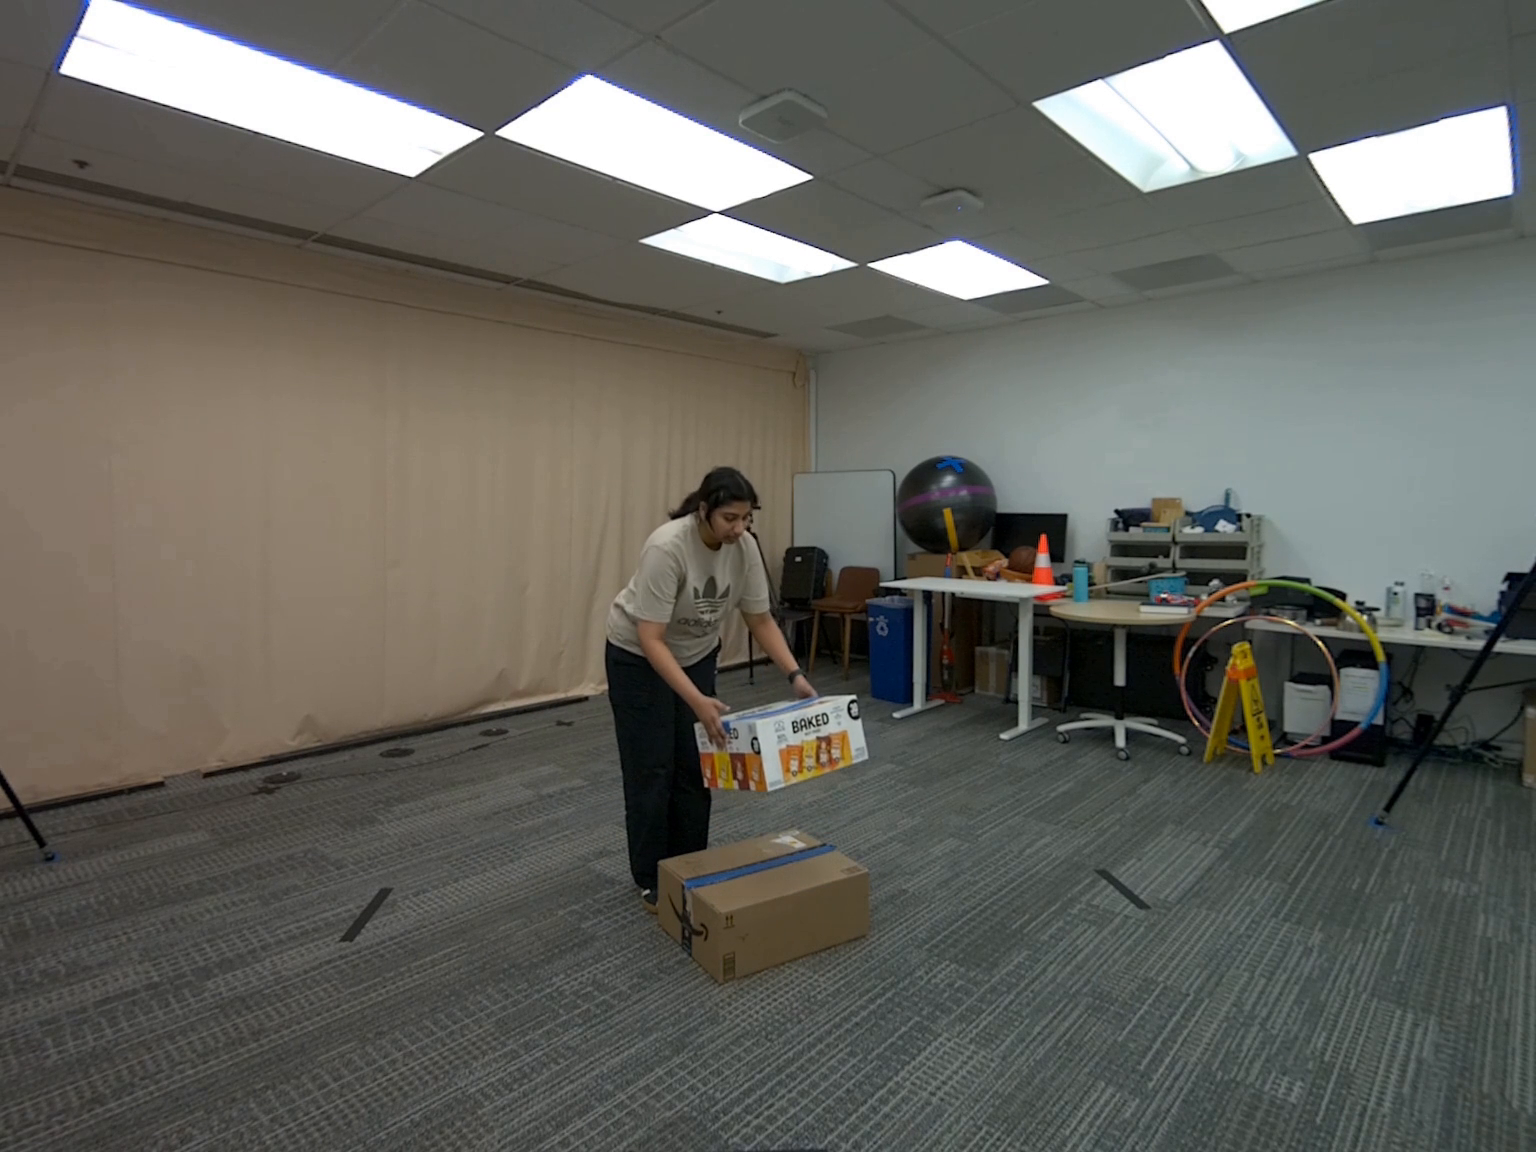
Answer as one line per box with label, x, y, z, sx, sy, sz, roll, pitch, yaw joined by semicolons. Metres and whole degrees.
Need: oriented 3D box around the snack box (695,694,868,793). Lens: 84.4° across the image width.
snack box;0.042;0.524;2.655;0.394;0.206;0.349;-7;-4;-37
